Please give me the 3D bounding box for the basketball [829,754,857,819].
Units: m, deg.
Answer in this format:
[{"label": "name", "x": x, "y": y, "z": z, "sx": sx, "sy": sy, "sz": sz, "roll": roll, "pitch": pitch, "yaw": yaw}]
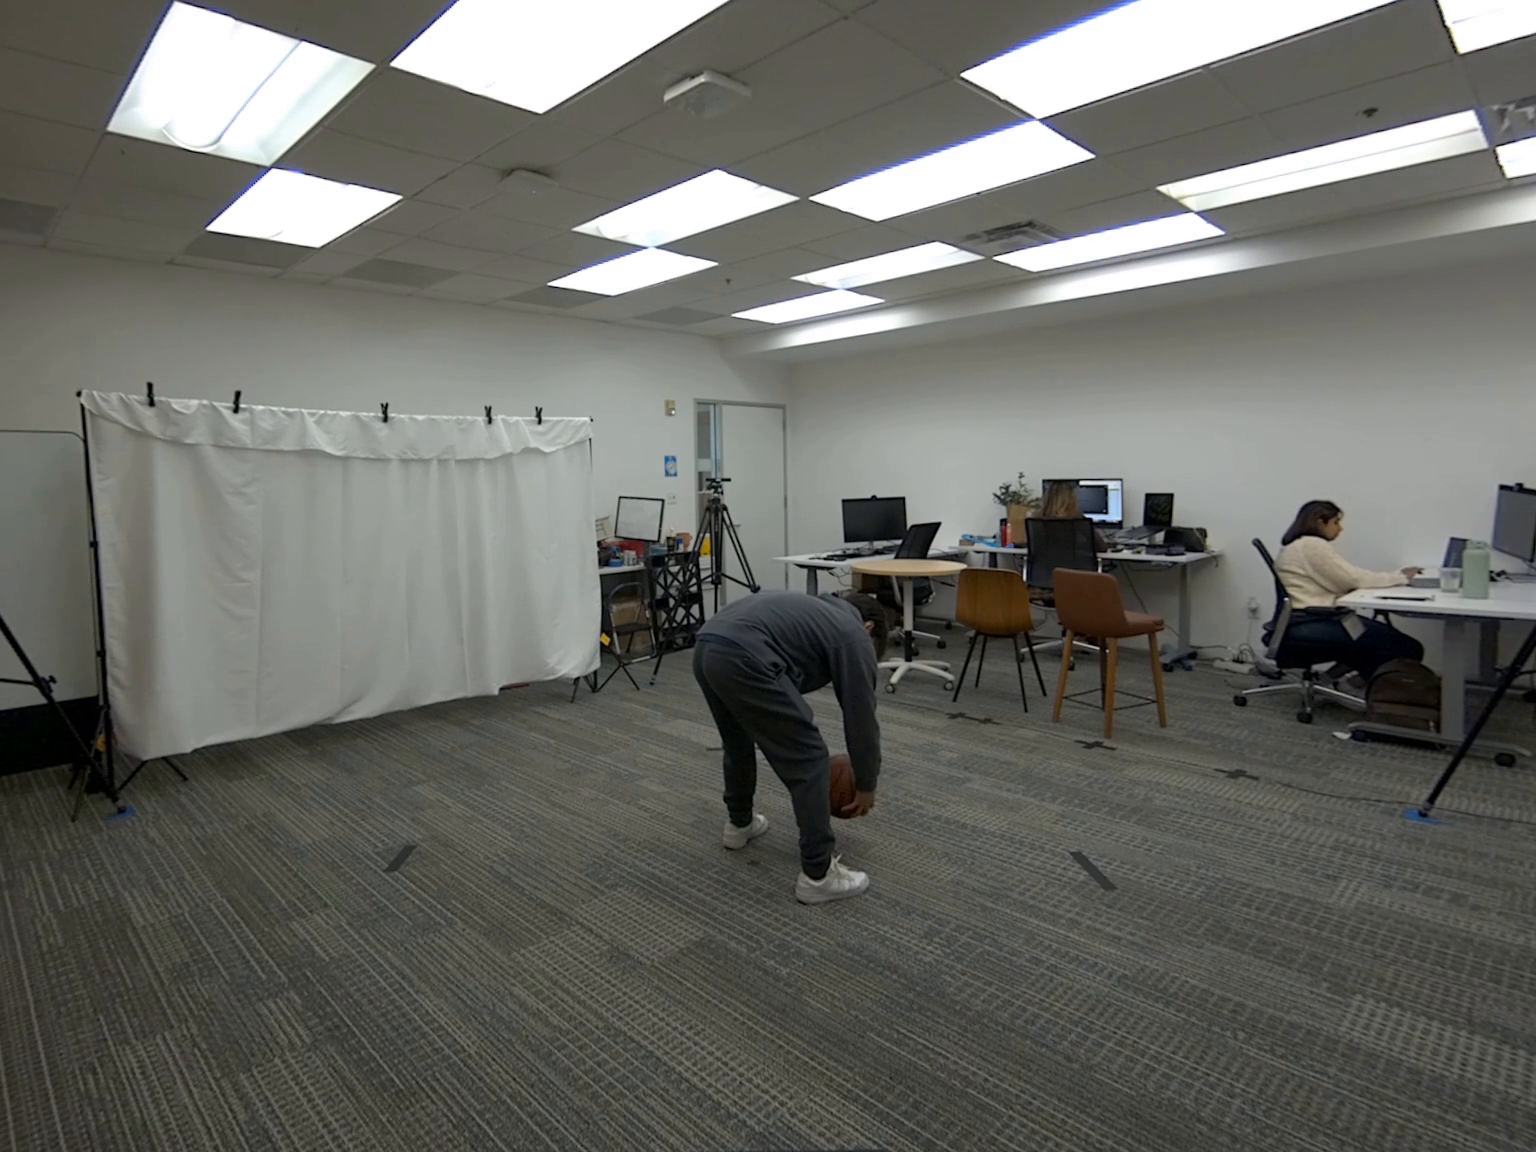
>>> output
[{"label": "basketball", "x": 0.295, "y": 0.797, "z": 3.258, "sx": 0.236, "sy": 0.235, "sz": 0.237, "roll": -1, "pitch": 5, "yaw": -2}]
